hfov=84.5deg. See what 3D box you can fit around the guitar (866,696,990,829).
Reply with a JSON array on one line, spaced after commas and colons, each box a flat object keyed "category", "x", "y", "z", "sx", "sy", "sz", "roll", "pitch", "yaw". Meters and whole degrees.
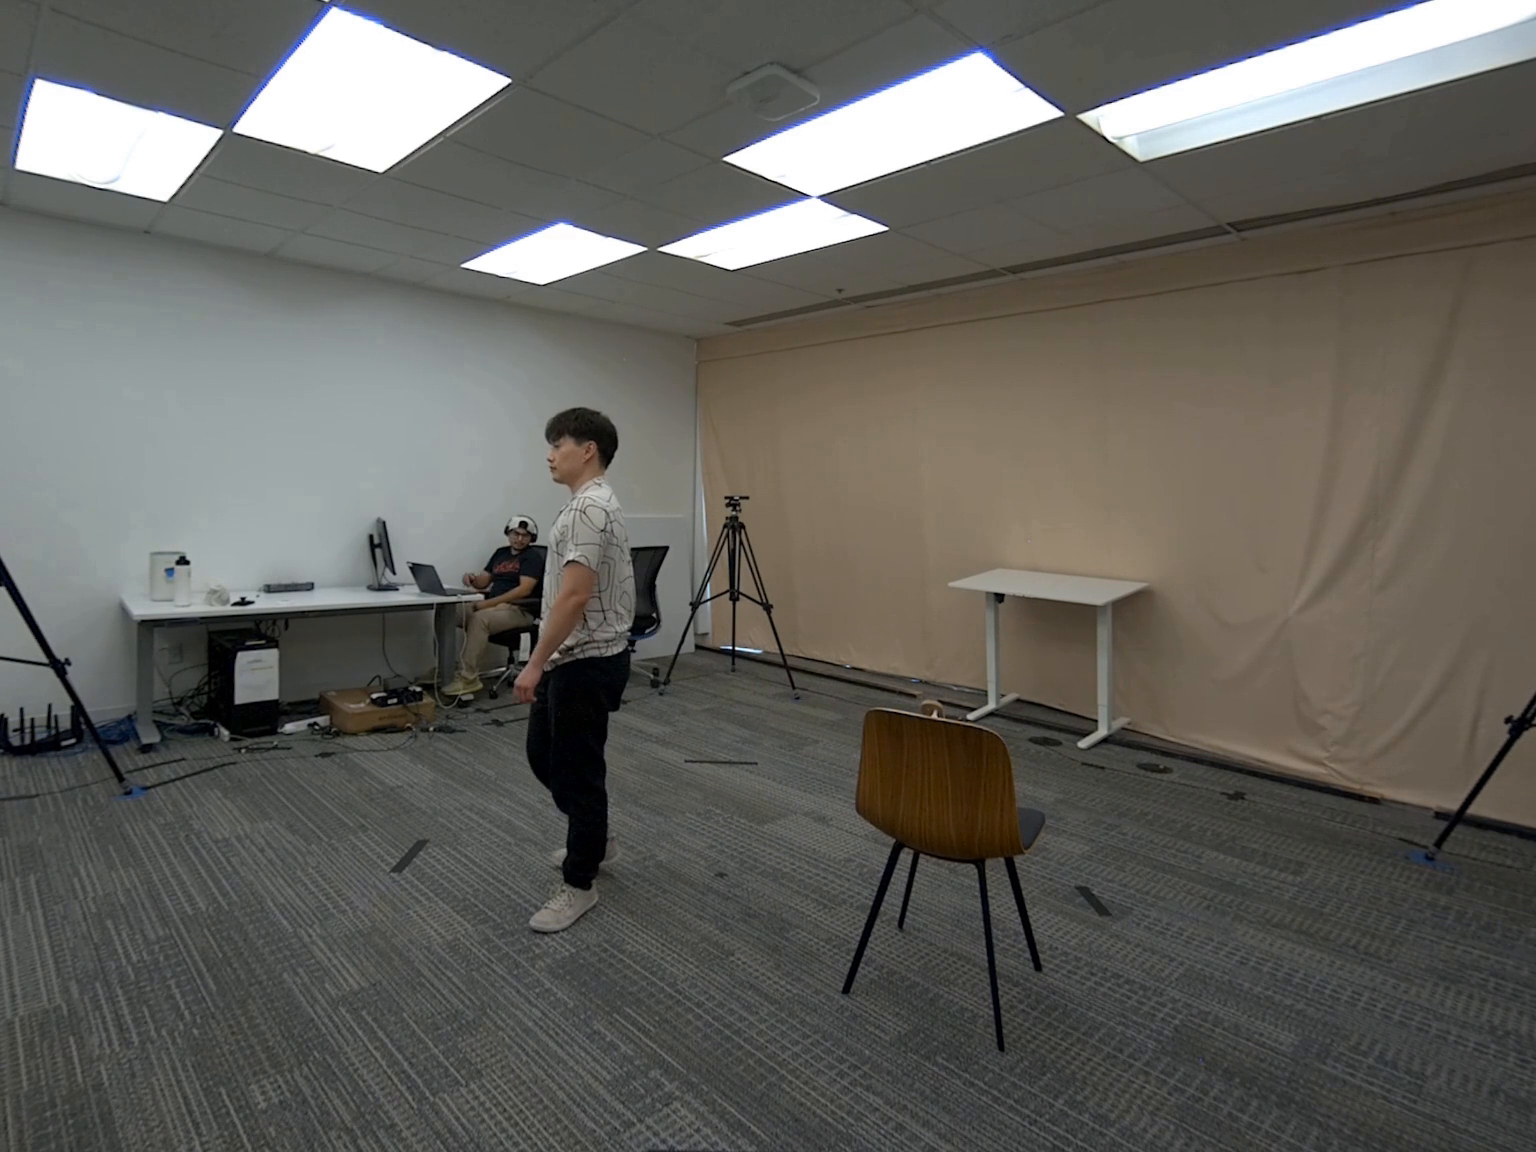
[{"category": "guitar", "x": 0.446, "y": 0.516, "z": 2.323, "sx": 0.197, "sy": 0.483, "sz": 0.071, "roll": -2, "pitch": 43, "yaw": 32}]
